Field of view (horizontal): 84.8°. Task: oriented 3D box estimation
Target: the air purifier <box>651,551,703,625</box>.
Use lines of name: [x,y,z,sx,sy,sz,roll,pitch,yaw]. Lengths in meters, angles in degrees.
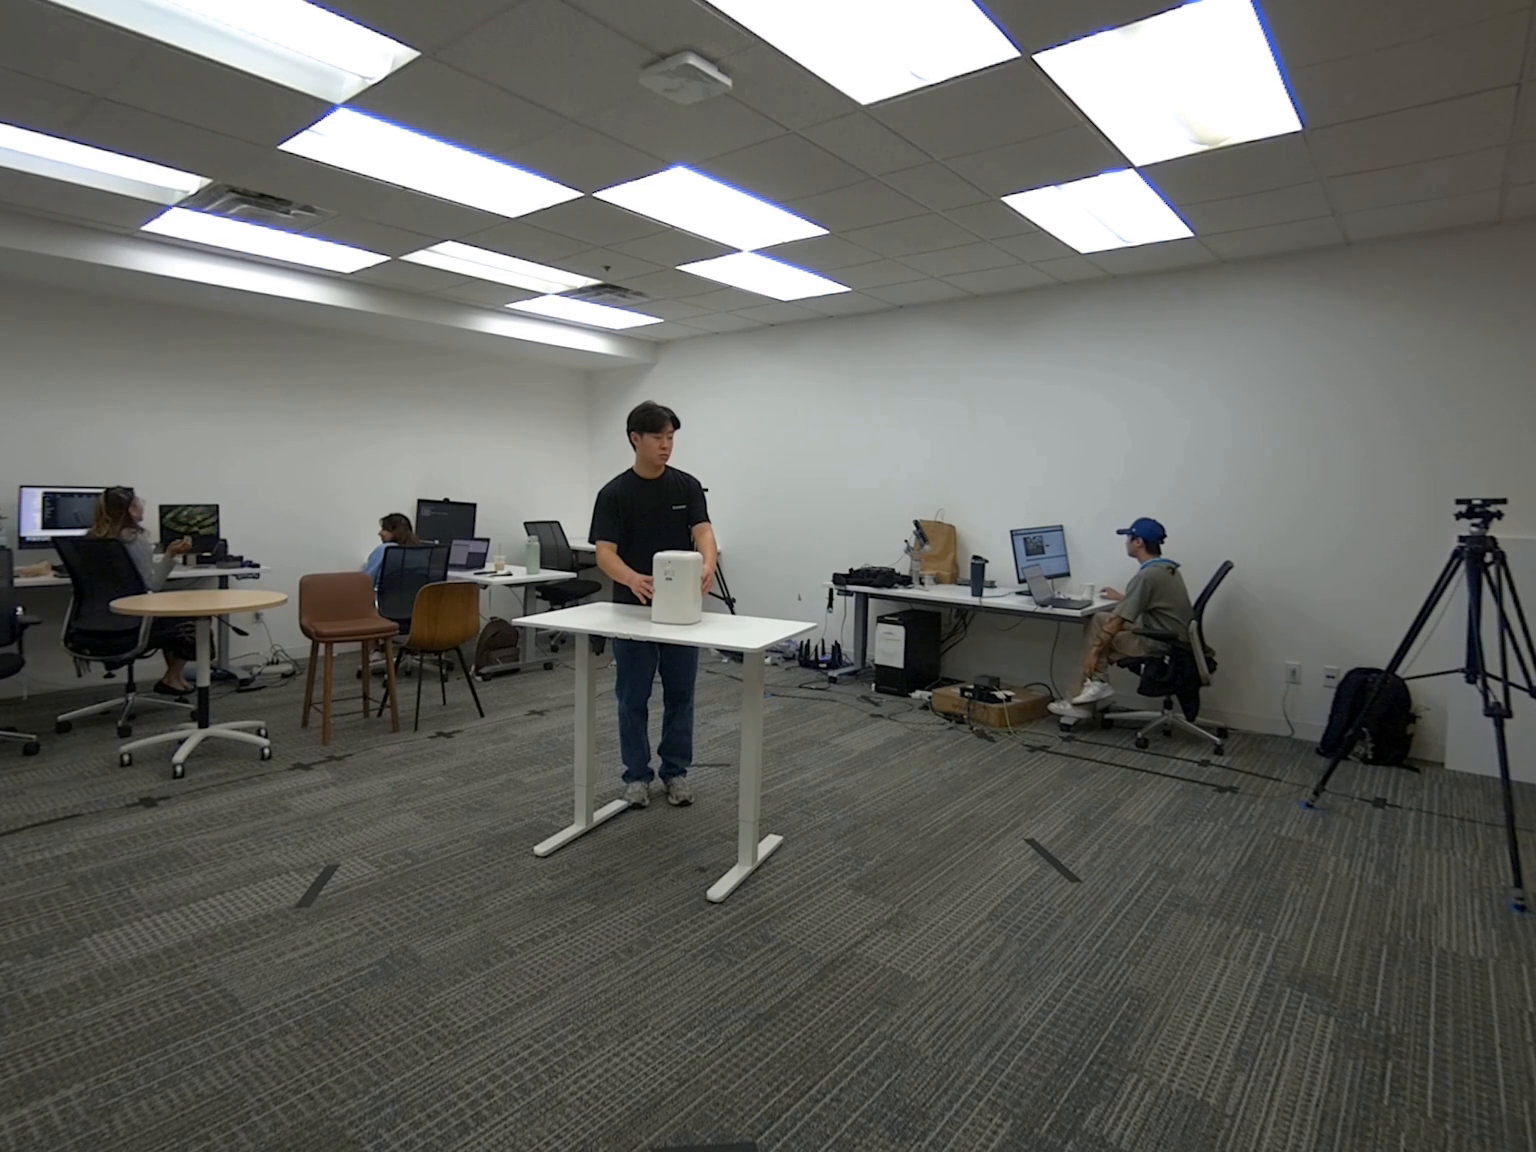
air purifier: [-0.357,0.036,3.241,0.174,0.264,0.169,2,4,17]
